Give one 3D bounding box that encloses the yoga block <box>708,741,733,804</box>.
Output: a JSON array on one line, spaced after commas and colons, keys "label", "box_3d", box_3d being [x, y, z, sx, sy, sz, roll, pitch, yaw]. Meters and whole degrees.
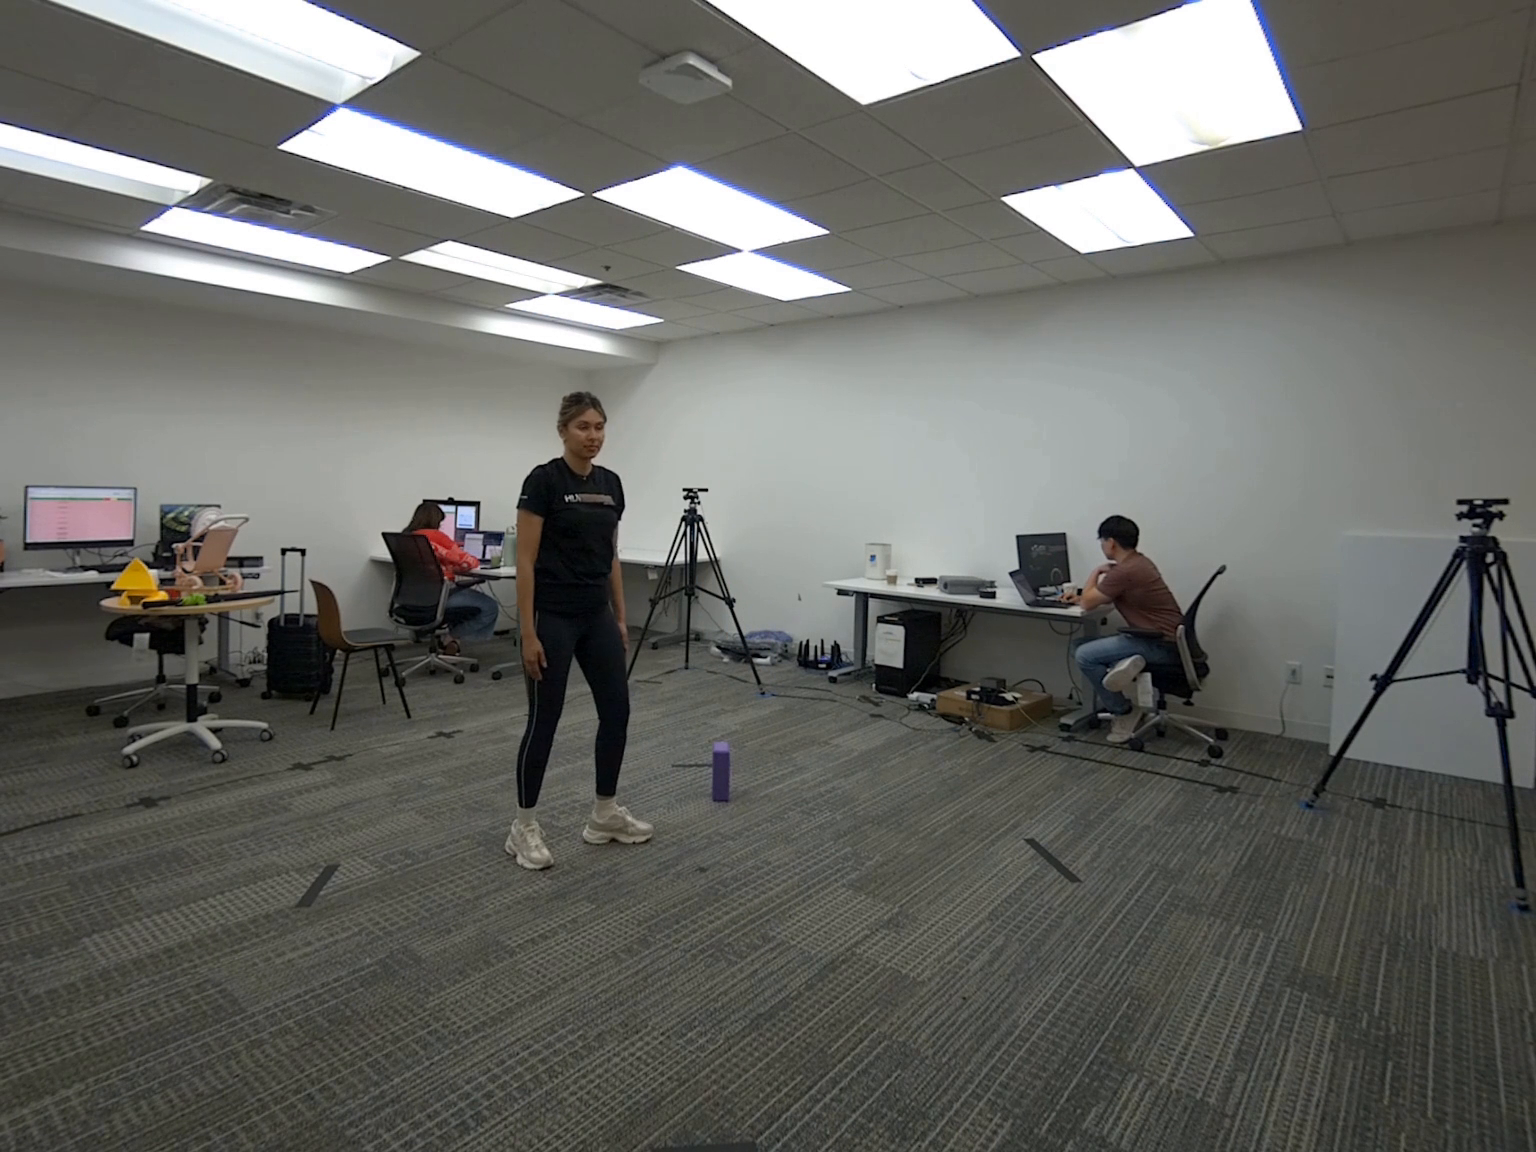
[{"label": "yoga block", "box_3d": [-0.221, 0.883, 3.861, 0.076, 0.228, 0.149, 0, 4, -1]}]
